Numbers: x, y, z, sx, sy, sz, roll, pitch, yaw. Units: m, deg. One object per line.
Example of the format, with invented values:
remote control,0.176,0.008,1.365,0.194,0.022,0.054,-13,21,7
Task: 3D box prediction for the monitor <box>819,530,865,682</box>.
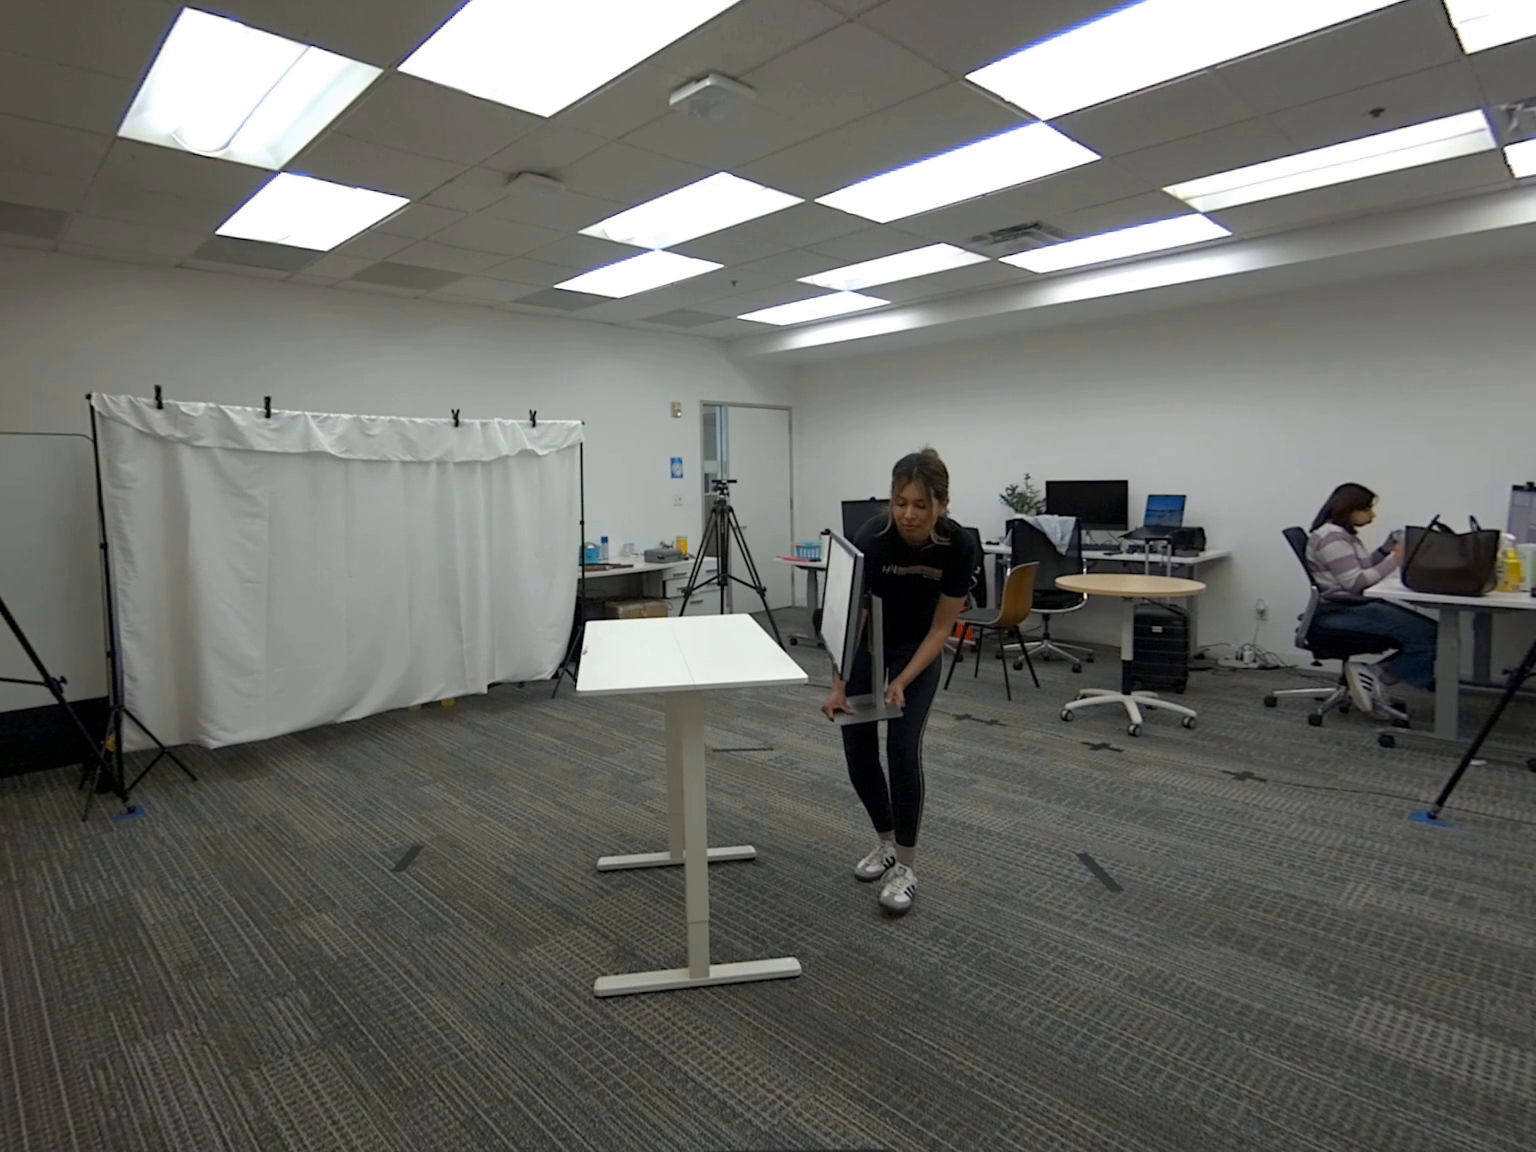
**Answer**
monitor,0.265,0.164,2.650,0.186,0.519,0.544,-8,7,-5
